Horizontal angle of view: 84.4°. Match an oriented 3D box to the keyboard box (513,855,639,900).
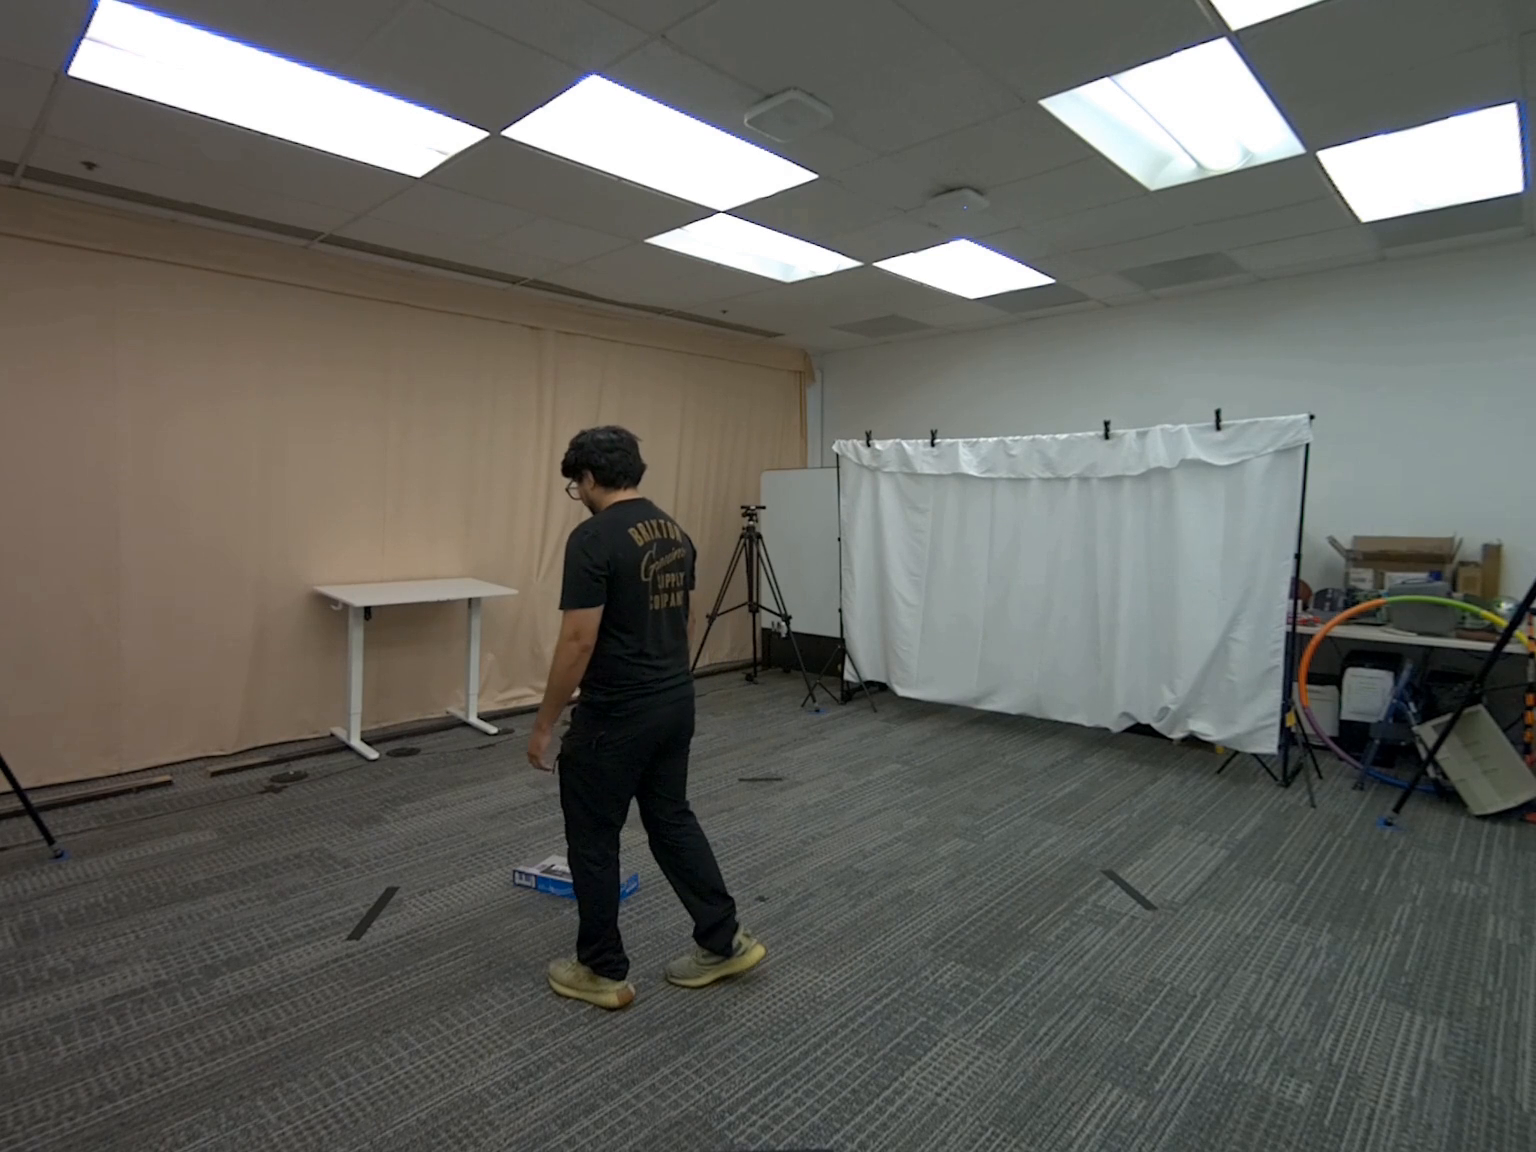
[{"bbox_3d":[-0.709,1.110,3.093,0.448,0.059,0.172,2,4,25],"label":"keyboard box"}]
